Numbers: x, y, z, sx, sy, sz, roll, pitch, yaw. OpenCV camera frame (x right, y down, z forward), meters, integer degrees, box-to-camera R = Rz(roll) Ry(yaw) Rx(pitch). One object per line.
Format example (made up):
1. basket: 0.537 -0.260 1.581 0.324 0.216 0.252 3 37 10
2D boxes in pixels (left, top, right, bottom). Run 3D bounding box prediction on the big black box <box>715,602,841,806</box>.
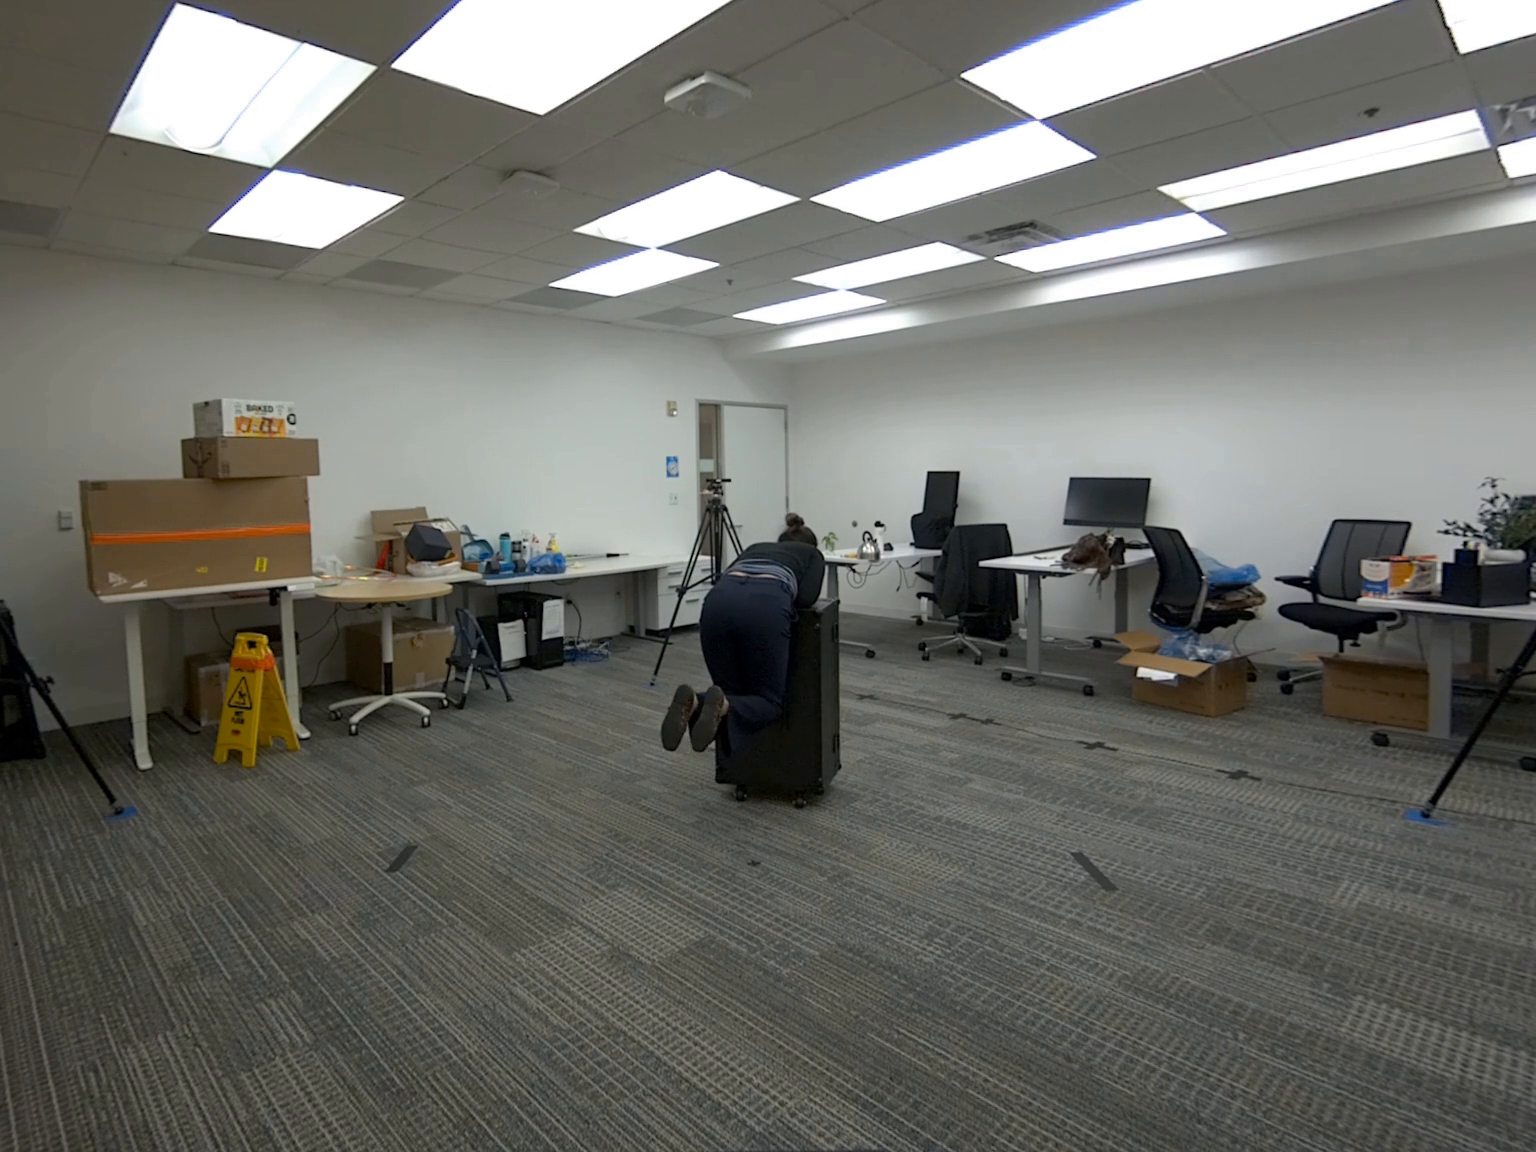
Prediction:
1. big black box: 0.050 0.544 3.787 0.531 0.858 0.391 1 5 19
